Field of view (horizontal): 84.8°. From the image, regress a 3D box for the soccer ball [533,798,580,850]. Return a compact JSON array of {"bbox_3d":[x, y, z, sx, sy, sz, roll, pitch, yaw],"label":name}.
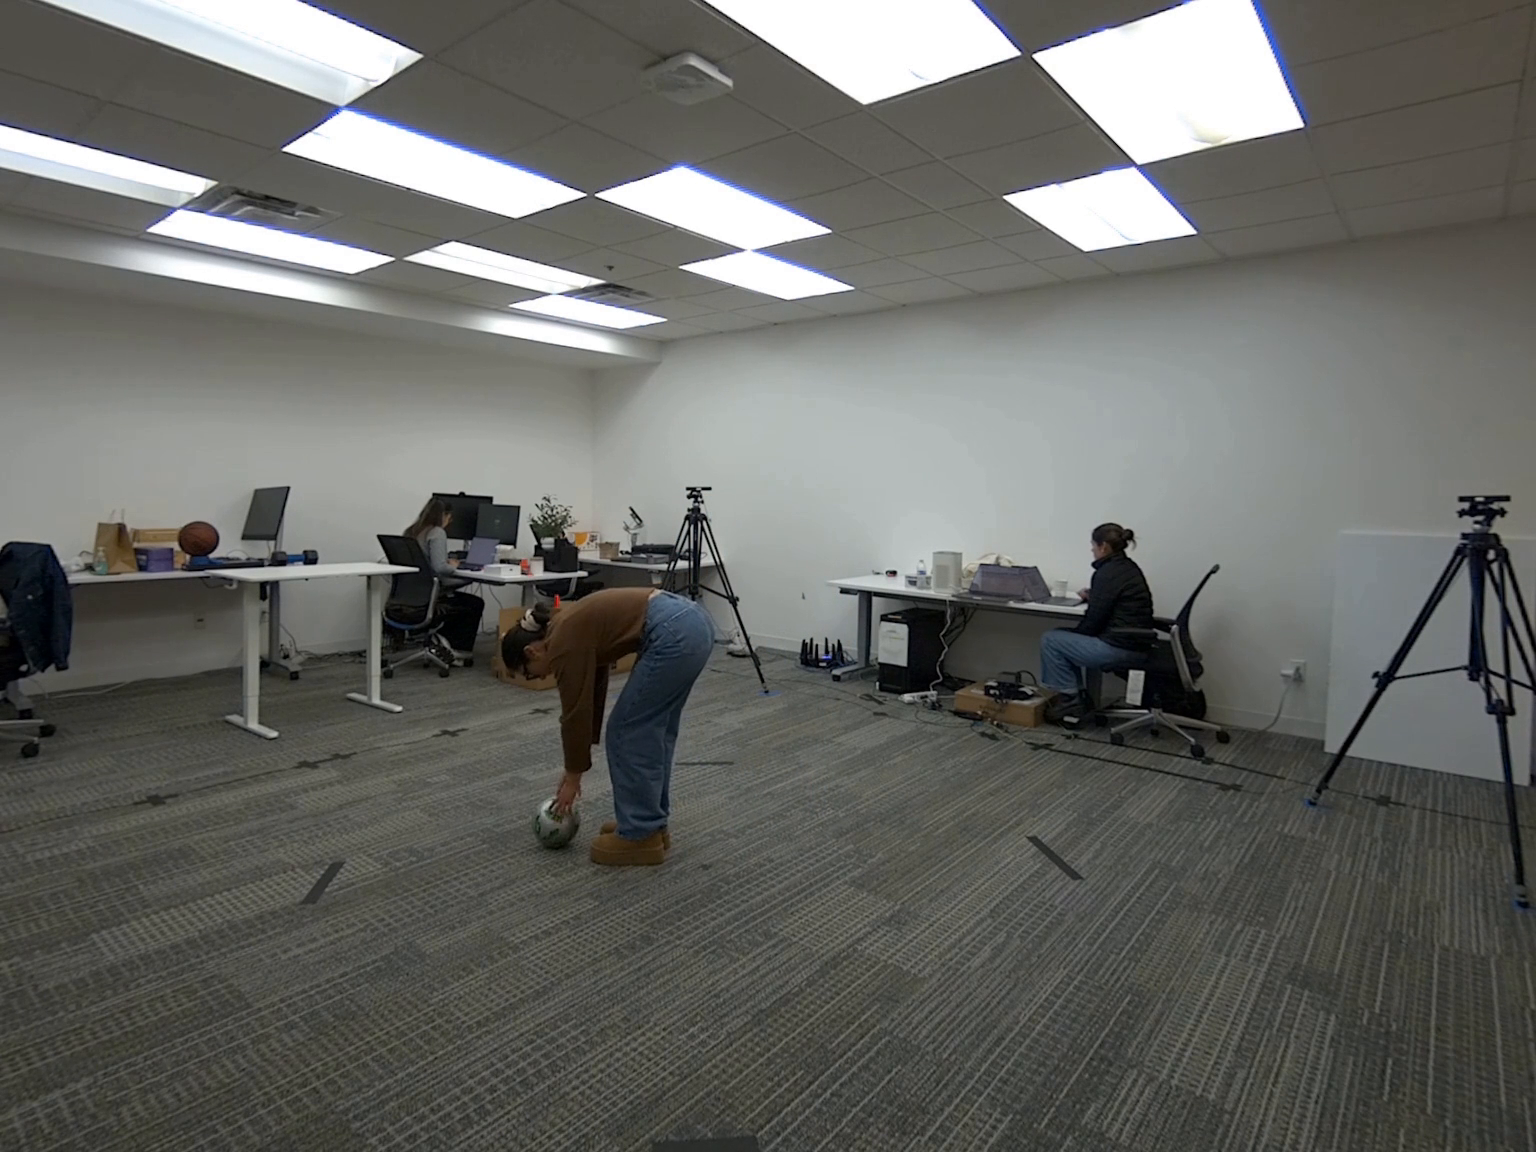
[{"bbox_3d":[-0.831,0.939,3.295,0.187,0.187,0.188,1,4,-2],"label":"soccer ball"}]
